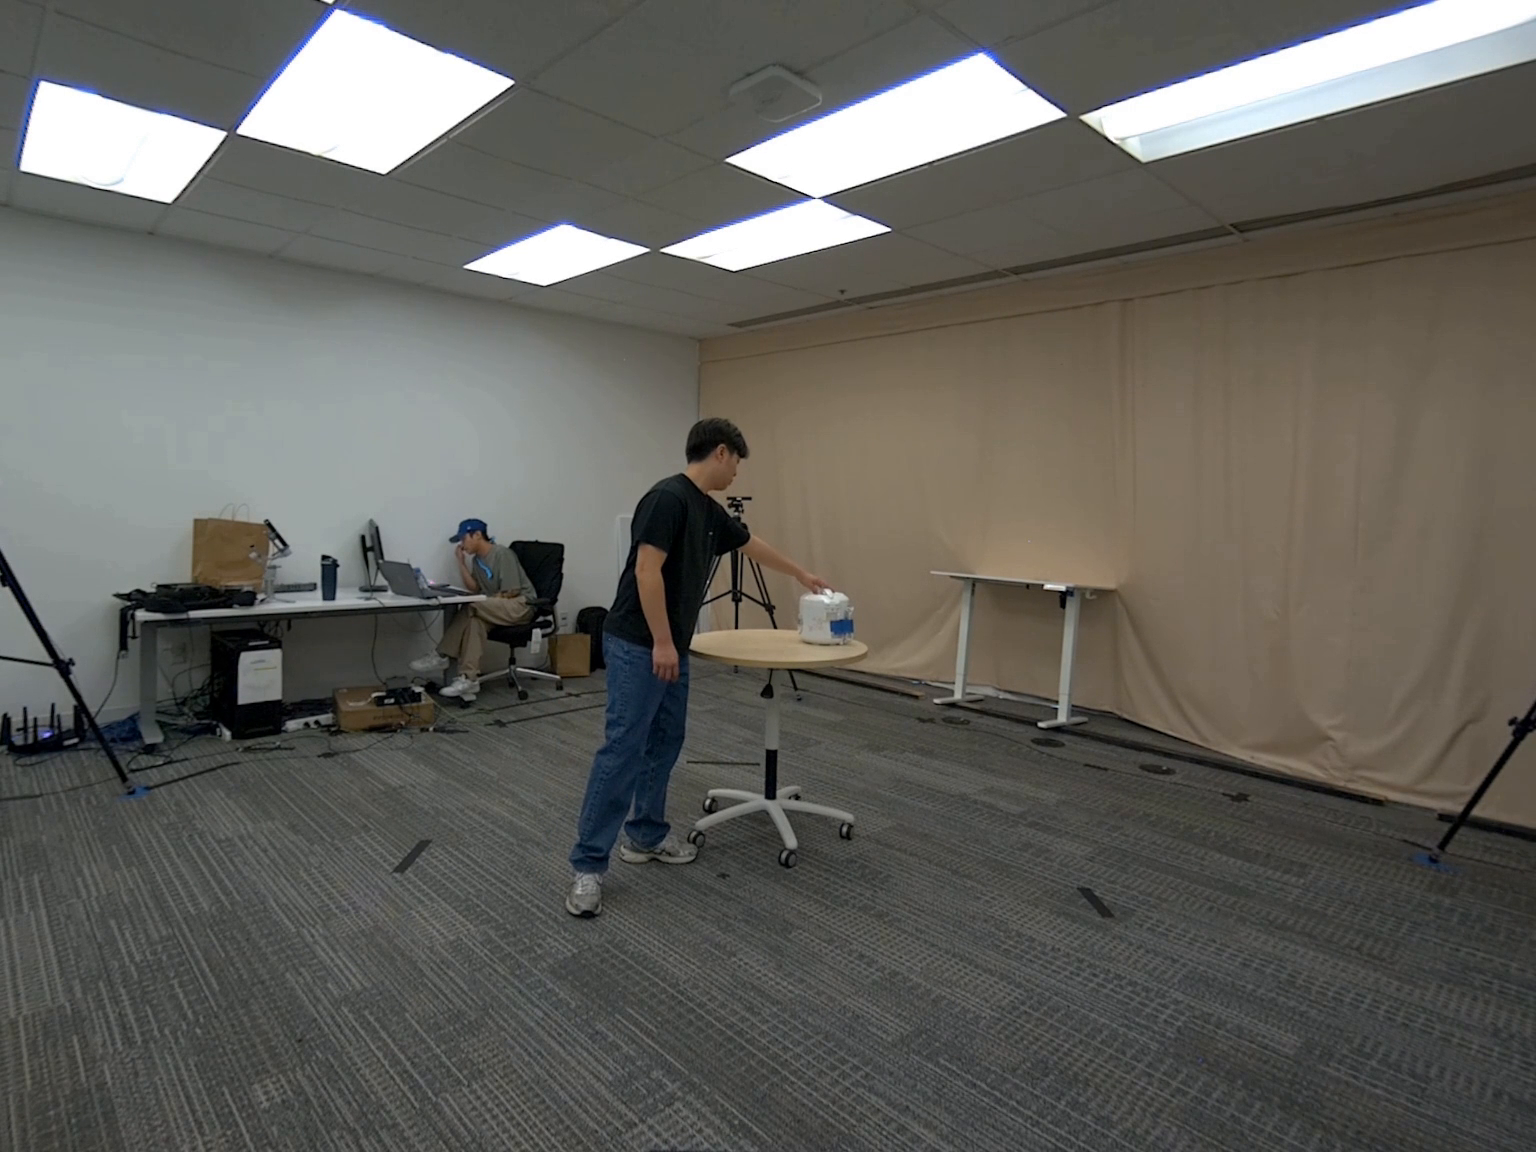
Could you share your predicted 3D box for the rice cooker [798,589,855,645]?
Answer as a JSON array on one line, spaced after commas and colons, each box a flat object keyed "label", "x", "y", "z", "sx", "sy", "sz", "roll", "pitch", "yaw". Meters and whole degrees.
[{"label": "rice cooker", "x": 0.234, "y": 0.165, "z": 3.566, "sx": 0.215, "sy": 0.232, "sz": 0.223, "roll": 1, "pitch": 3, "yaw": -12}]
